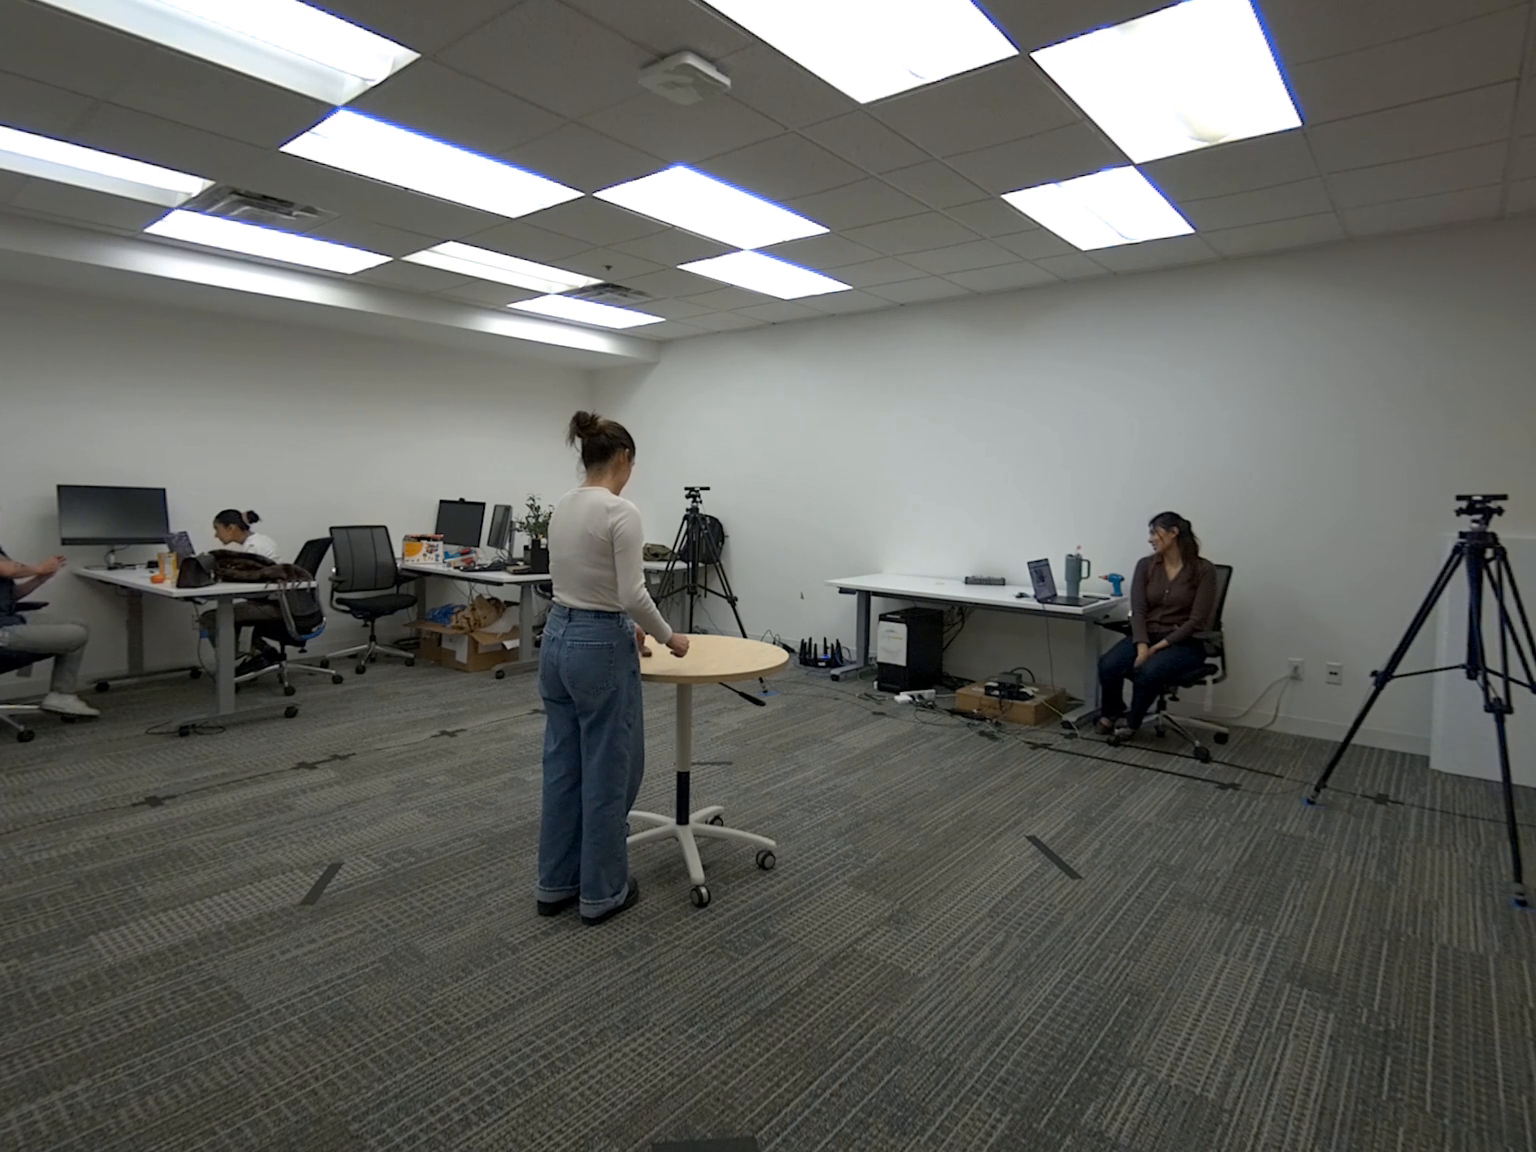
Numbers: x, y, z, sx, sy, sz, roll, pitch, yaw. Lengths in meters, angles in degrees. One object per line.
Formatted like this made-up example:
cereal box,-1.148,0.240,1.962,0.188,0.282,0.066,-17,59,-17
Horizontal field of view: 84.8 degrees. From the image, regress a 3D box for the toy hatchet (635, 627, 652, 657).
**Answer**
toy hatchet,-0.515,0.258,3.148,0.129,0.029,0.275,5,6,-13
